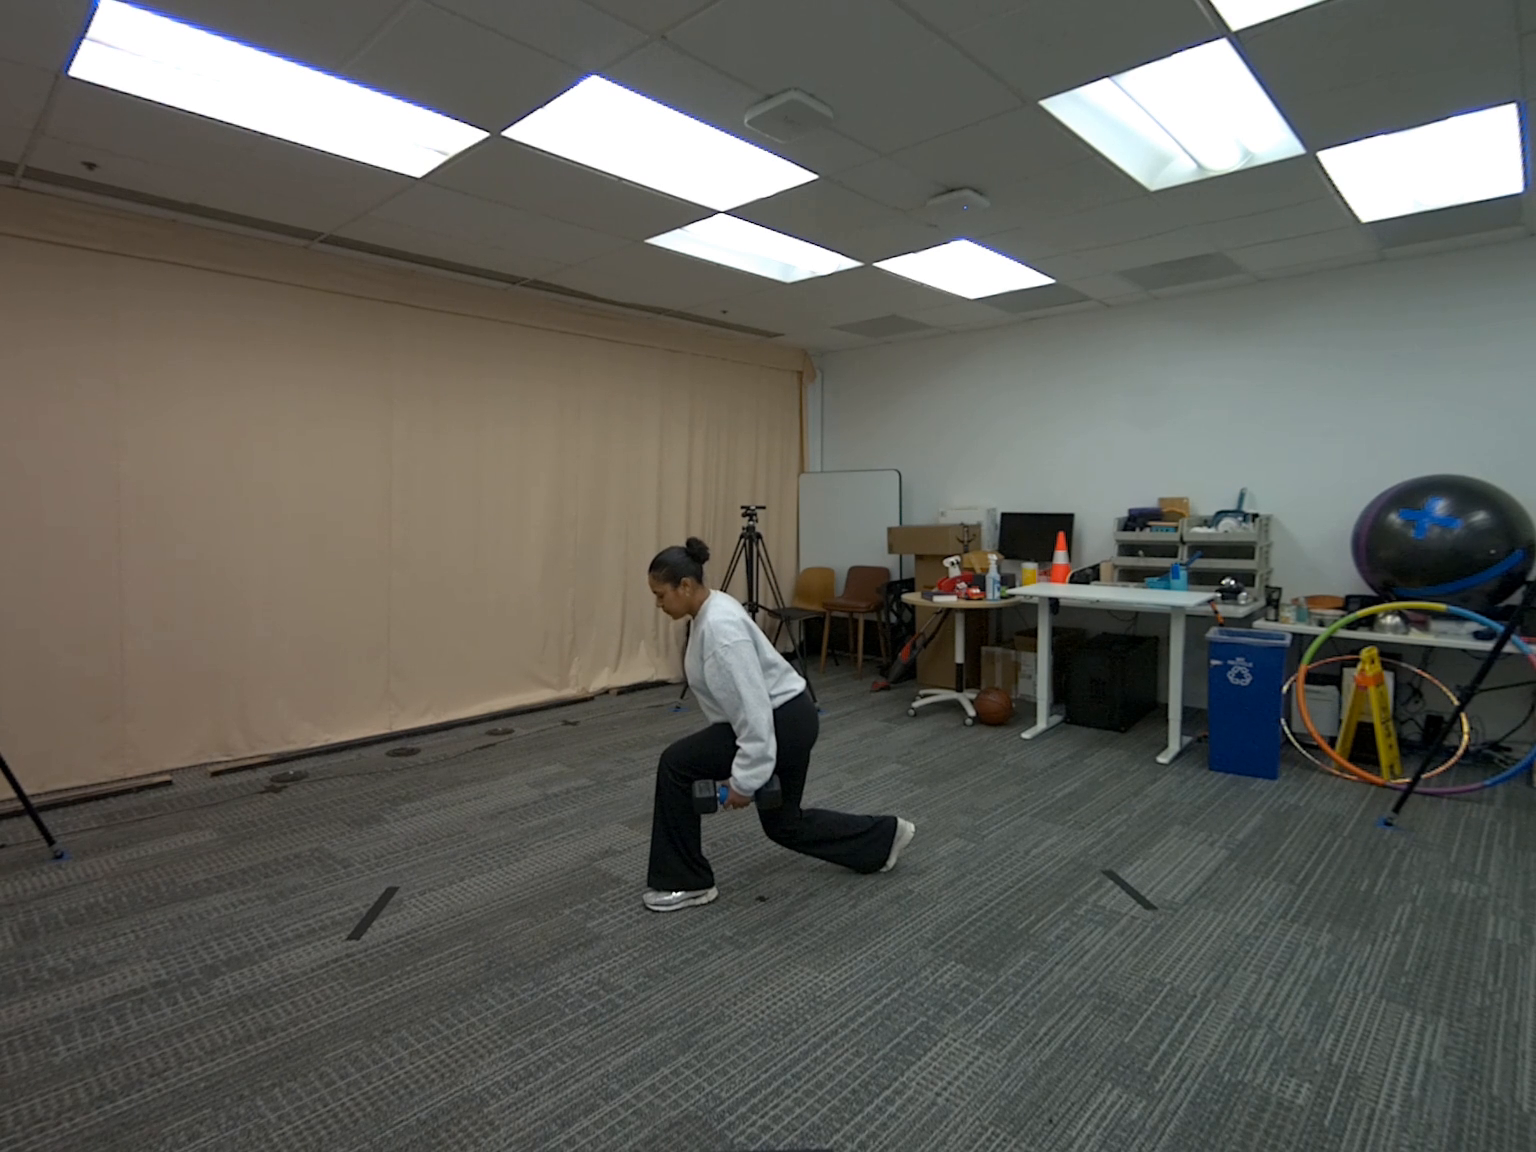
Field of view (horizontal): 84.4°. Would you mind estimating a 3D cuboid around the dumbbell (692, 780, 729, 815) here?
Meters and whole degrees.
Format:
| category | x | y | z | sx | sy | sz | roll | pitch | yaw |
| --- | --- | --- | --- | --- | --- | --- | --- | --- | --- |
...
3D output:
| category | x | y | z | sx | sy | sz | roll | pitch | yaw |
| --- | --- | --- | --- | --- | --- | --- | --- | --- | --- |
| dumbbell | -0.107 | 0.718 | 2.820 | 0.293 | 0.122 | 0.110 | -6 | 14 | -2 |
